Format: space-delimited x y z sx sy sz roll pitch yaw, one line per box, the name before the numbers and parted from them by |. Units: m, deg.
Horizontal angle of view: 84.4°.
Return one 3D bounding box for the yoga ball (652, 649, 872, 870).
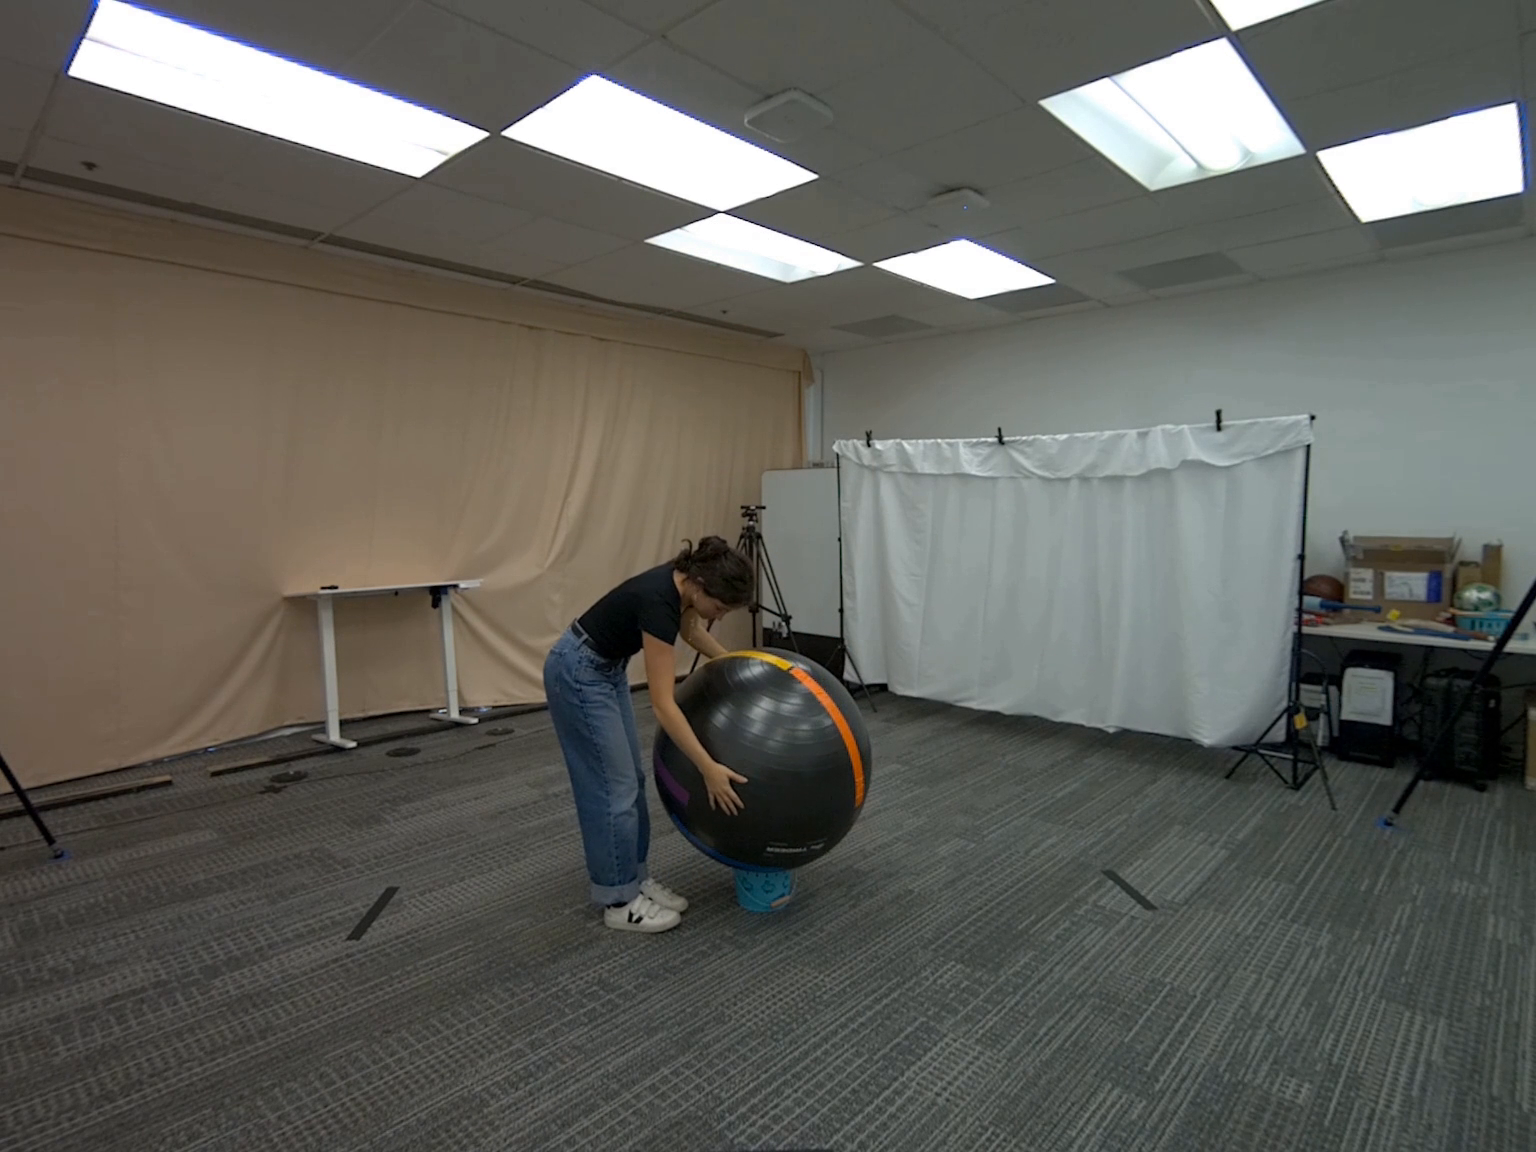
yoga ball | -0.012 0.634 2.949 0.757 0.756 0.760 0 4 -2
